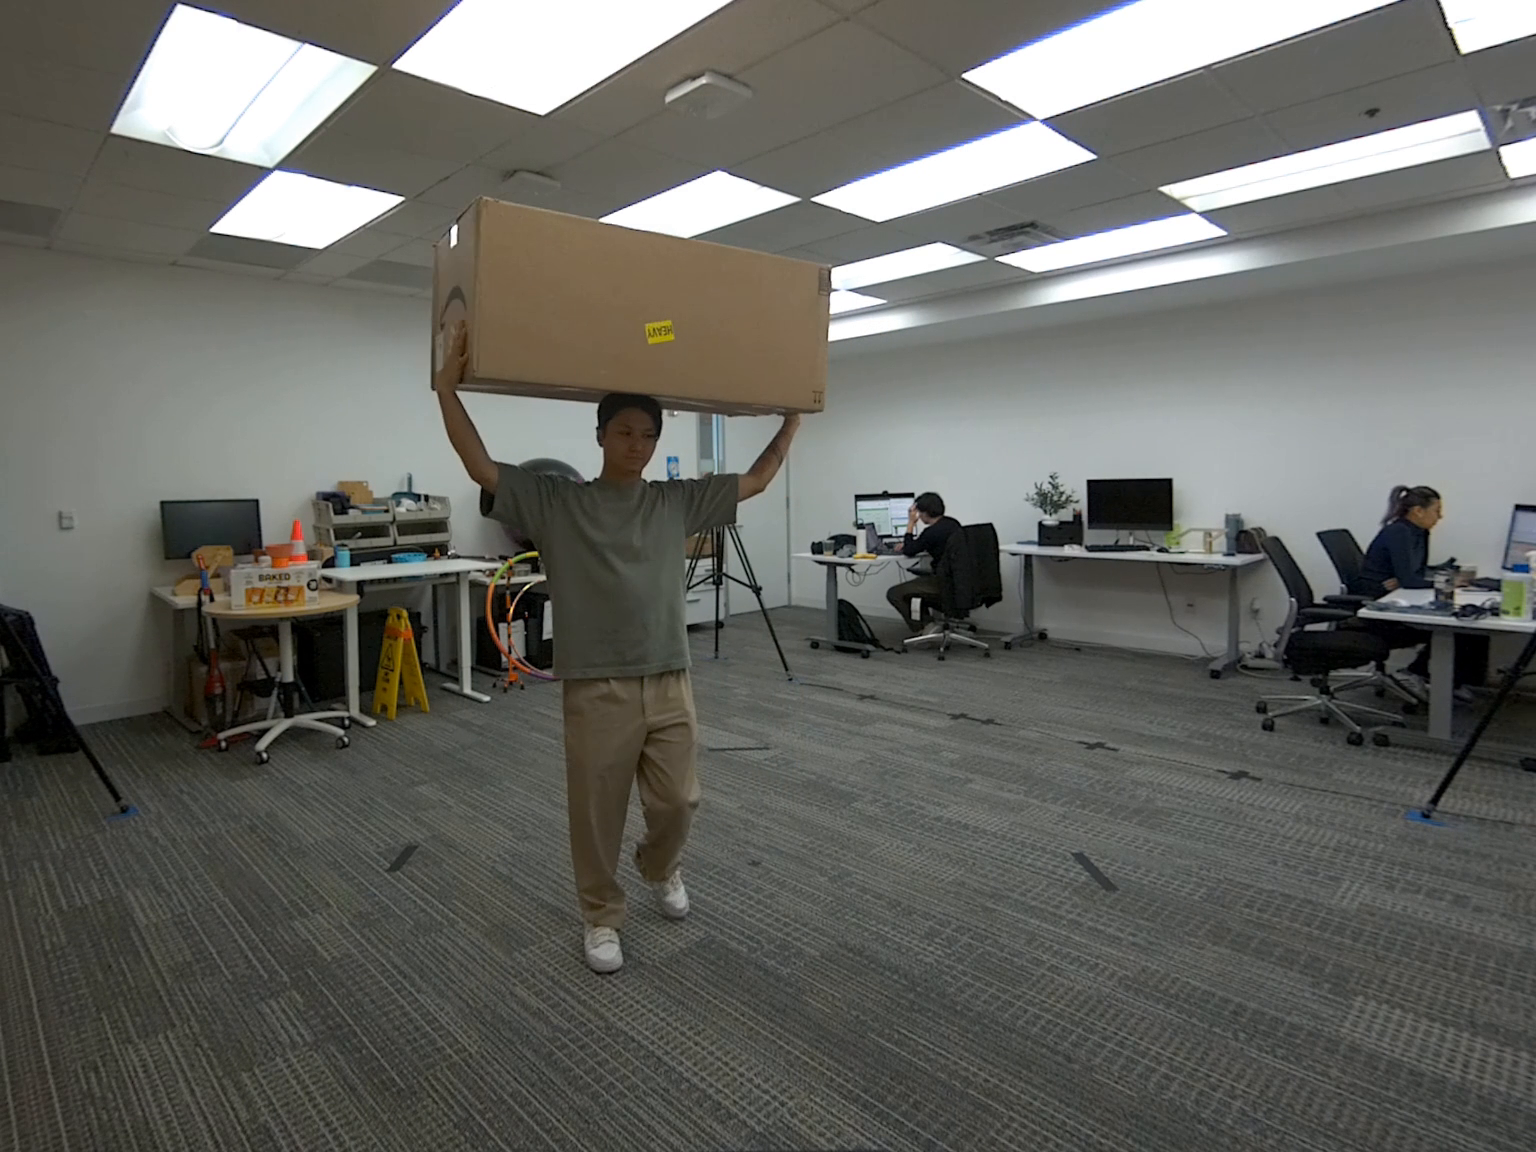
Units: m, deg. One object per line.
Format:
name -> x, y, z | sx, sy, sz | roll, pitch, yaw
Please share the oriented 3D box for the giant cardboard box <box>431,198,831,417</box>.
giant cardboard box -> -0.396, -0.721, 2.500 | 1.000, 0.424, 0.595 | -1, 8, -30
